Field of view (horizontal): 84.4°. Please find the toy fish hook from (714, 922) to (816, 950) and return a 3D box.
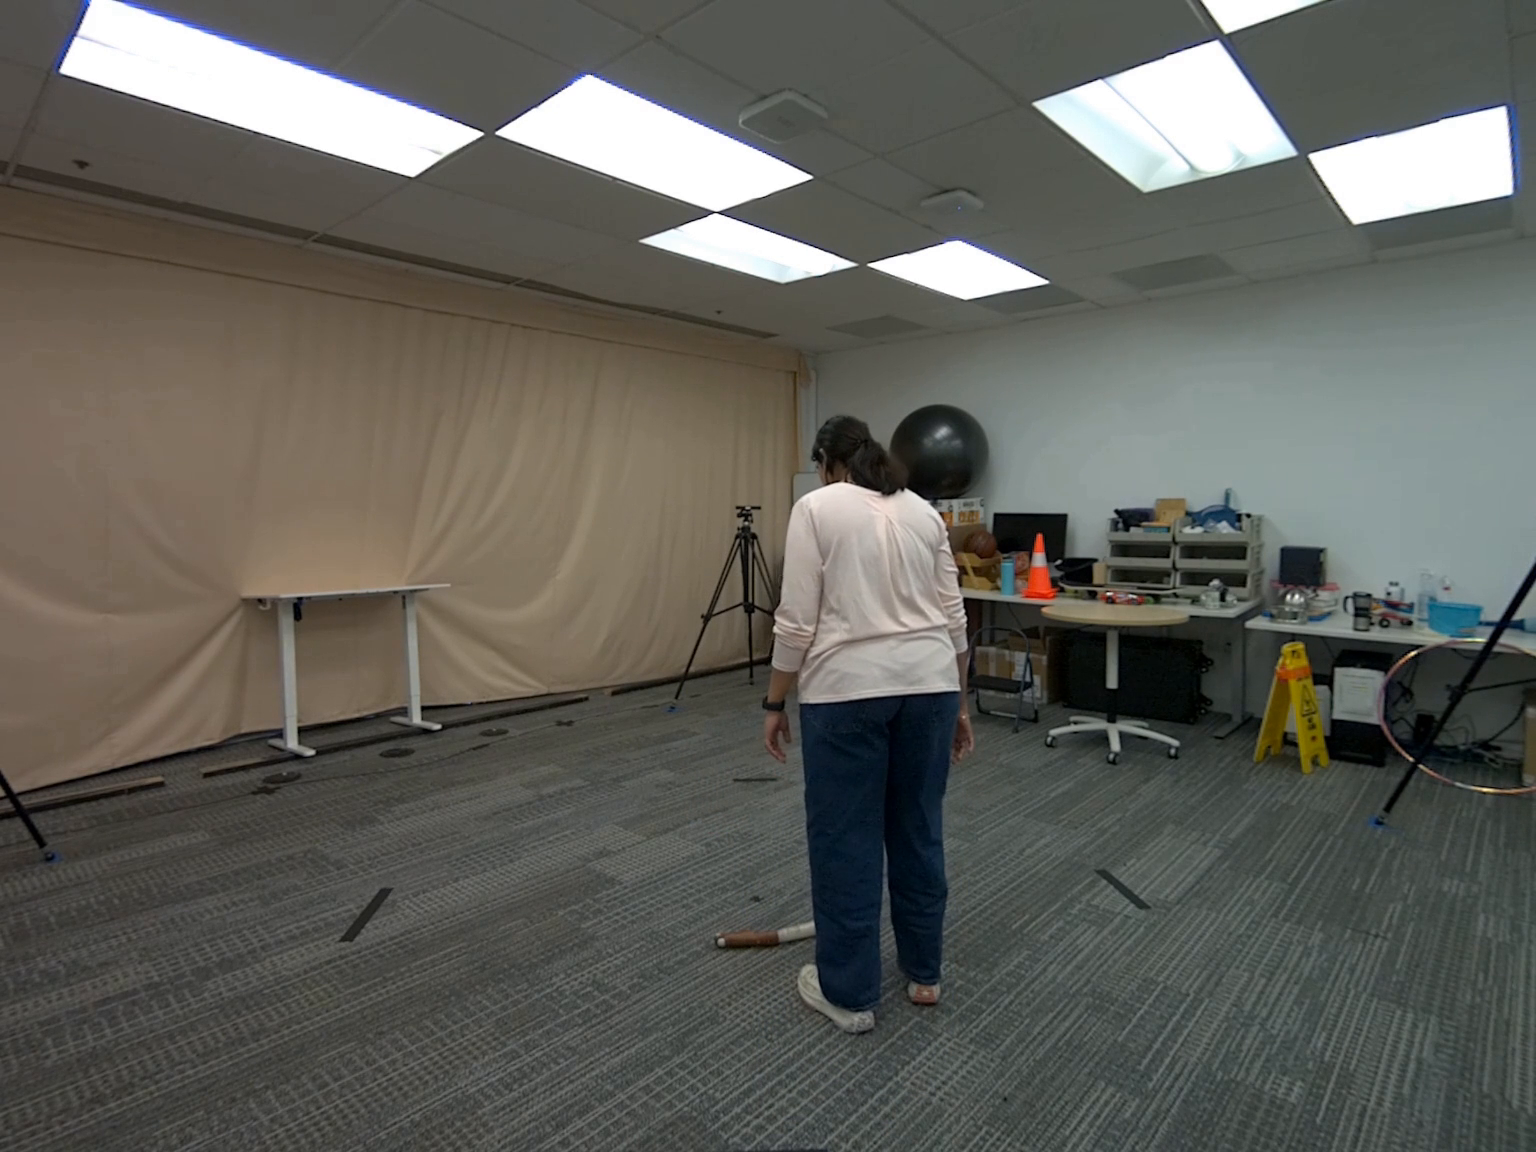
[{"bbox_3d":[0.094,1.152,2.636,0.501,0.048,0.227,-1,4,-10],"label":"toy fish hook"}]
